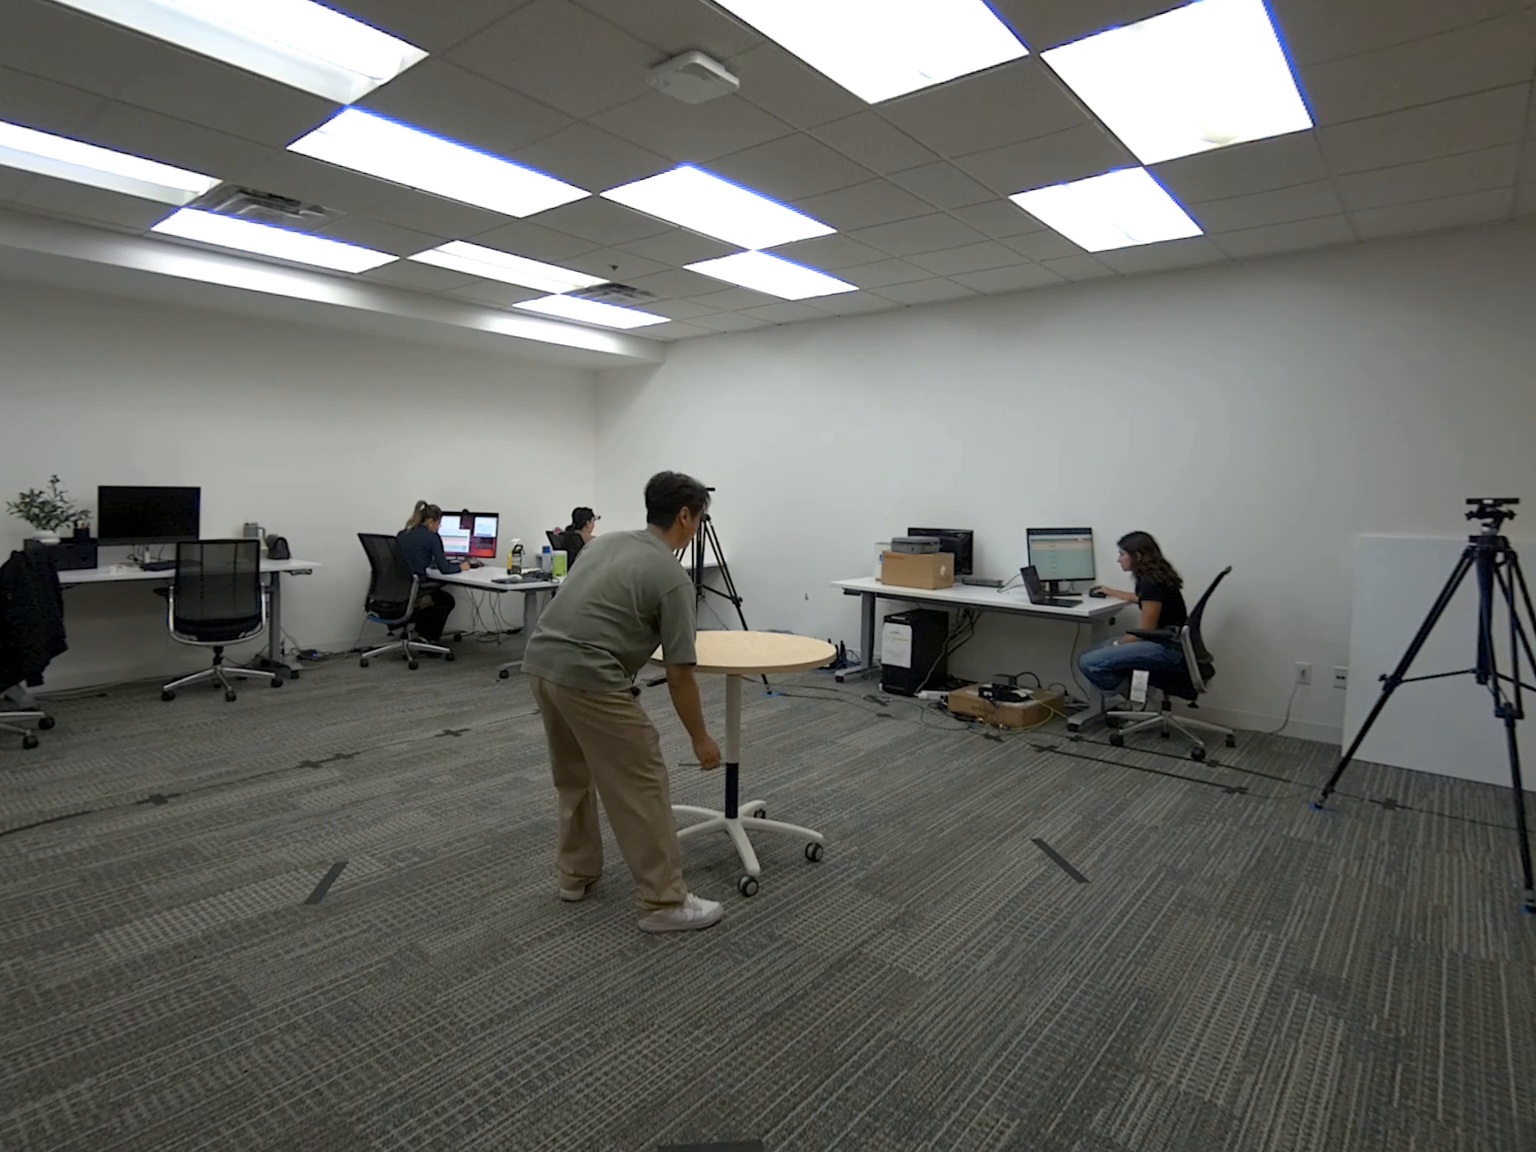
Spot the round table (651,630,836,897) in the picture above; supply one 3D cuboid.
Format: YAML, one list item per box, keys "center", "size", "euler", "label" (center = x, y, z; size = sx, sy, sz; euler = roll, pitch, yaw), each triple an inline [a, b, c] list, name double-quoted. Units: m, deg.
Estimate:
- center: [-0.152, 0.654, 3.248]
  size: [0.784, 0.785, 0.788]
  euler: [1, 3, -2]
  label: "round table"
